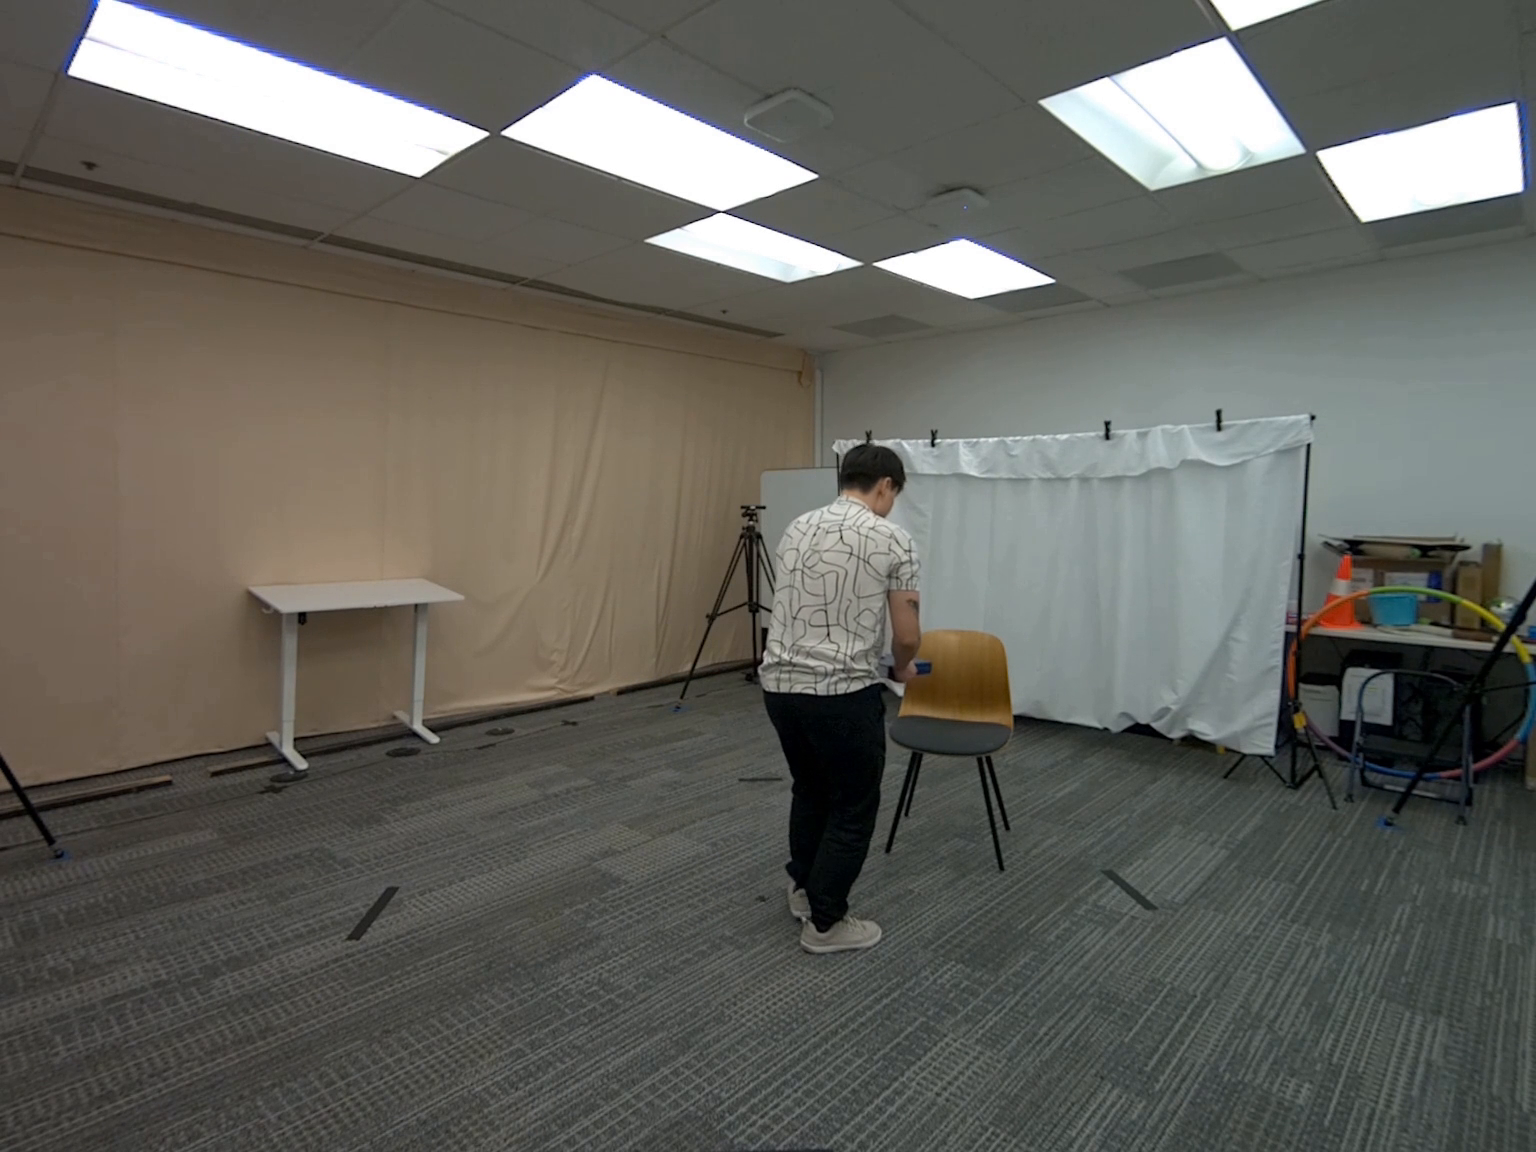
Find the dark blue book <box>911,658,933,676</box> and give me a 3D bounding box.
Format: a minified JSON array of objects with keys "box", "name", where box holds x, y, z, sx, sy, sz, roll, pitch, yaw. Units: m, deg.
[{"box":[0.442,0.315,2.850,0.237,0.045,0.169,-3,9,-43],"name":"dark blue book"}]
